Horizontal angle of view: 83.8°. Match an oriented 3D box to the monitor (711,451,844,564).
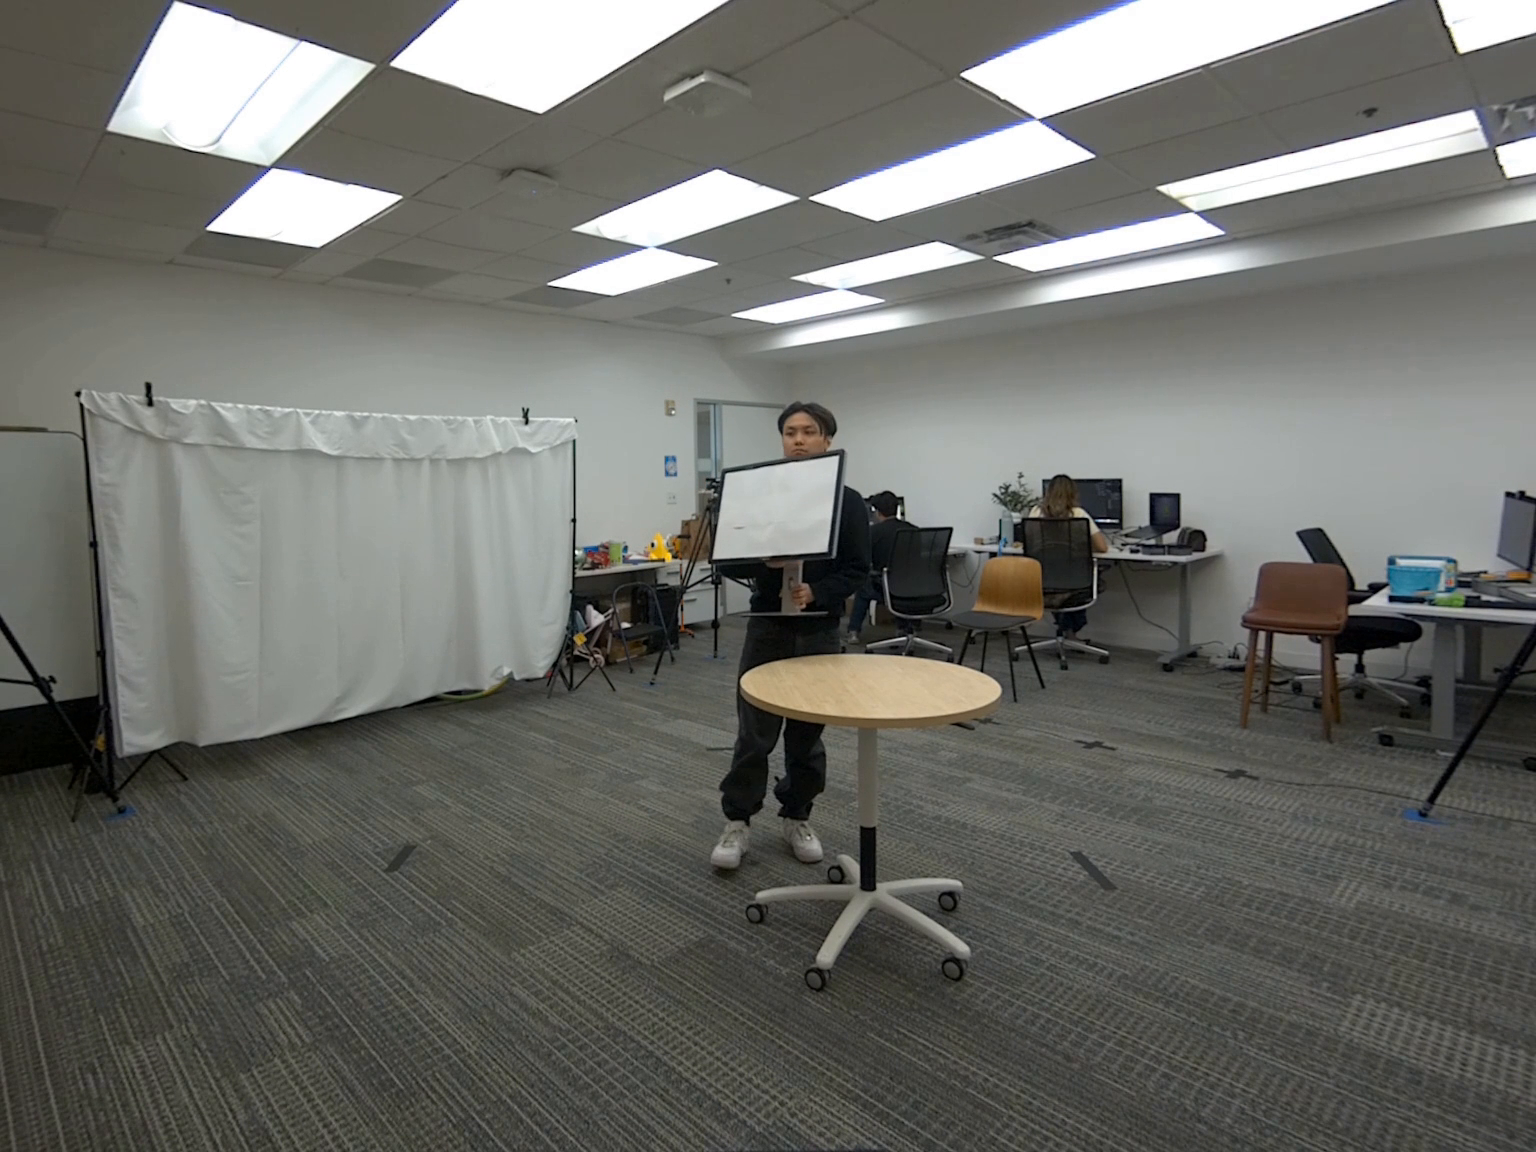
[{"bbox_3d":[0.042,-0.135,2.937,0.545,0.516,0.170,-2,0,45],"label":"monitor"}]
